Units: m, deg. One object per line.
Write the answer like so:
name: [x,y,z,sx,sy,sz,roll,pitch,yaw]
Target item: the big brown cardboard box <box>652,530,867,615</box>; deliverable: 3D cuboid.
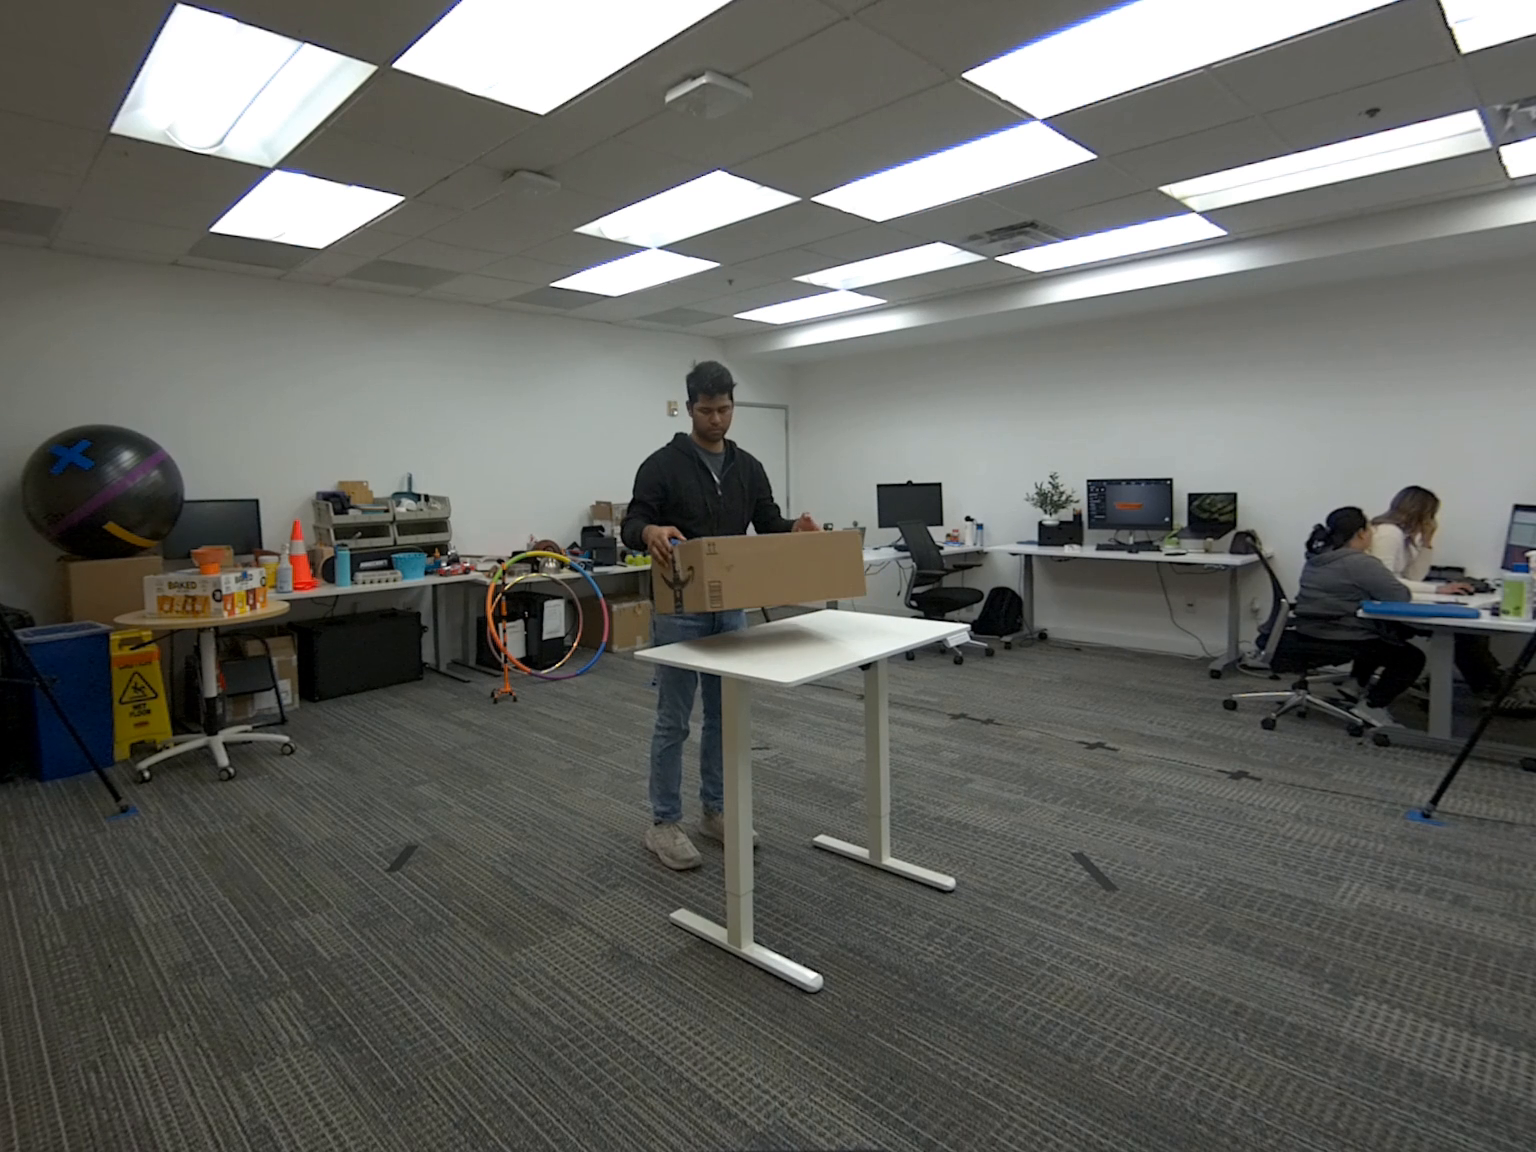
big brown cardboard box: [-0.044,-0.009,2.776,0.576,0.233,0.426,-6,-1,-28]
